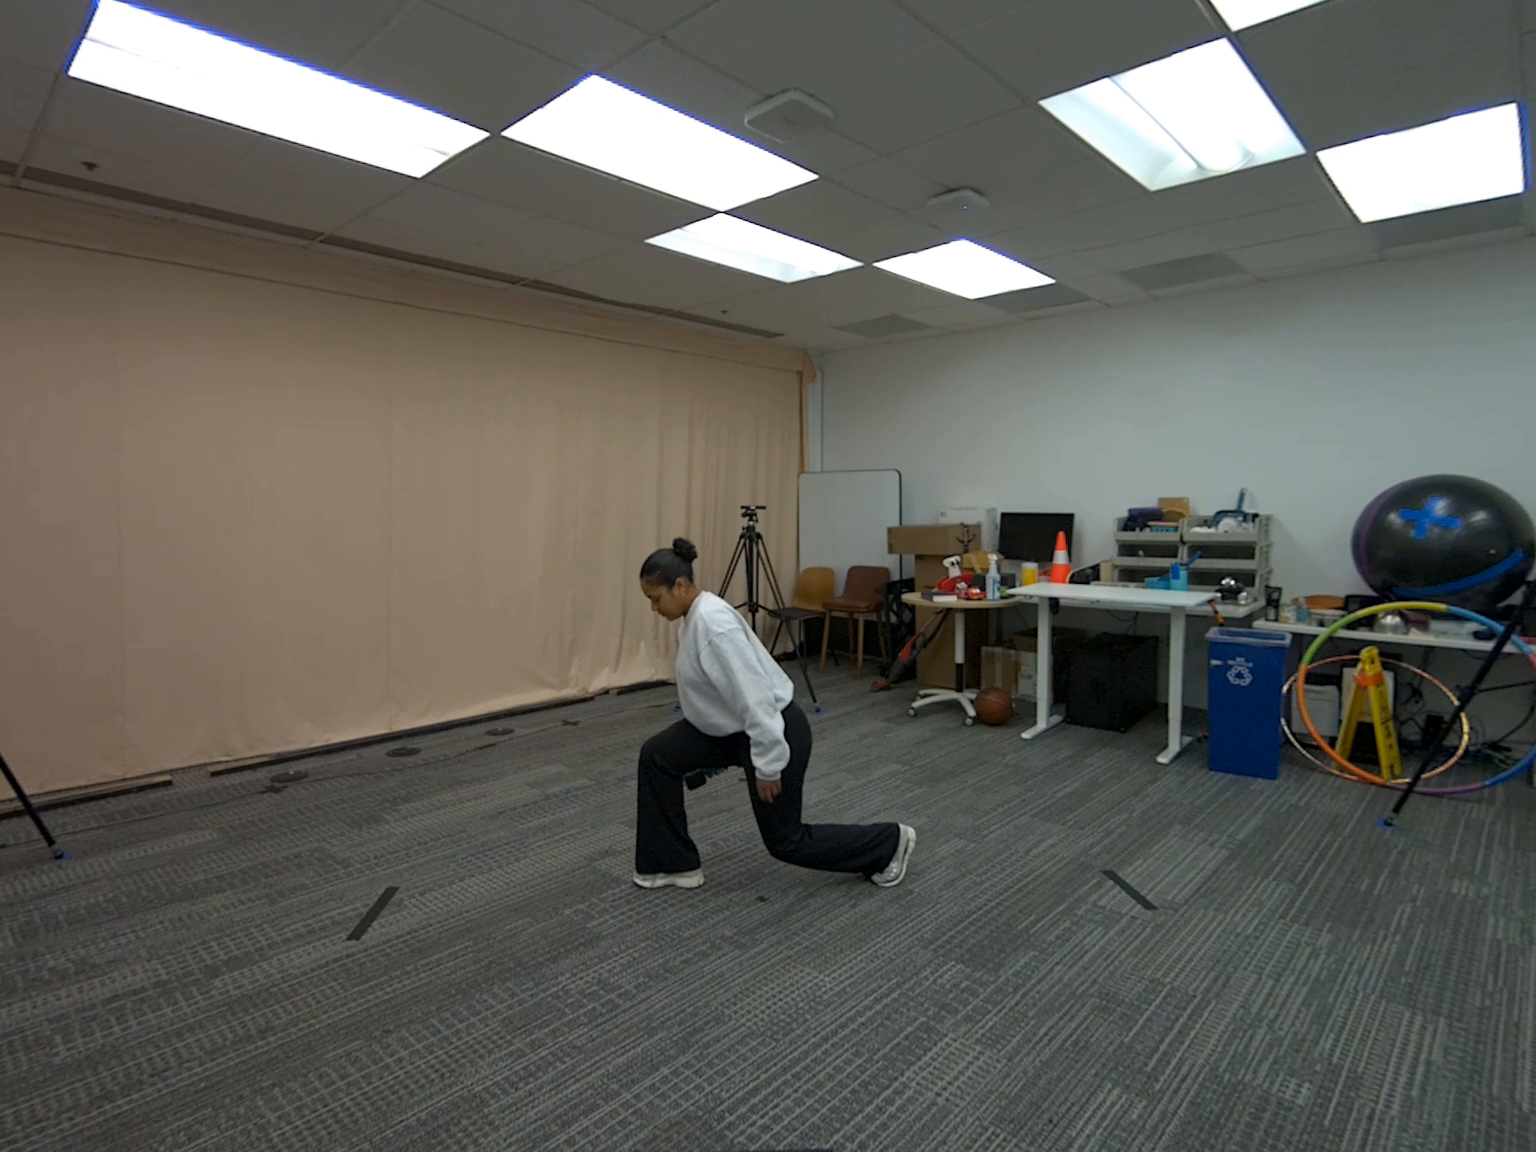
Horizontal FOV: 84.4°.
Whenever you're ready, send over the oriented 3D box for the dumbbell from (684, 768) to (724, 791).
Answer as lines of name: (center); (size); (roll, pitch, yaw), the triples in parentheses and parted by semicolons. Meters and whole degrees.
dumbbell: (-0.208, 0.727, 3.306); (0.290, 0.121, 0.111); (-21, 18, -13)
